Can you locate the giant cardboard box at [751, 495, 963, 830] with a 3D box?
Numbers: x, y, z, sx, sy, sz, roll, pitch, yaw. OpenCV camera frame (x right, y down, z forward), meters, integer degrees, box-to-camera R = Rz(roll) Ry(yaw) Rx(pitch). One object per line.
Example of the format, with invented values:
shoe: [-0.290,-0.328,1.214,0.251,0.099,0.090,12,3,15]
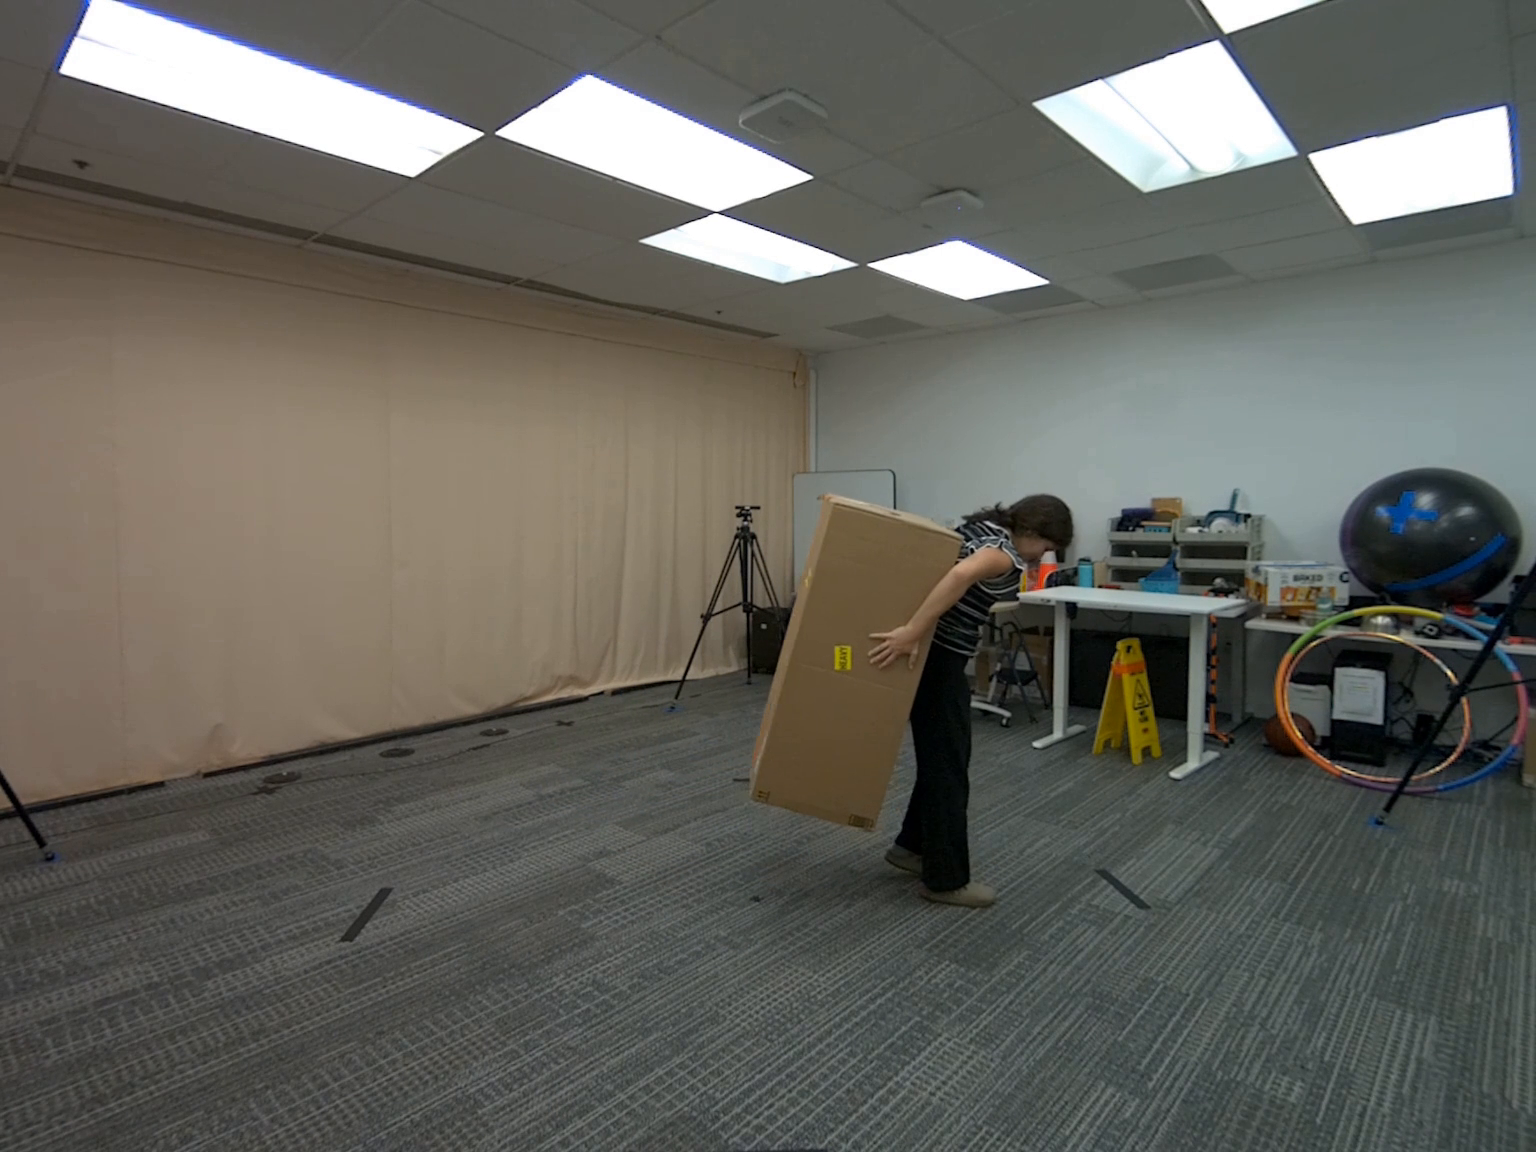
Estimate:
giant cardboard box: [0.283,0.265,2.989,0.427,1.023,0.578,15,8,1]
